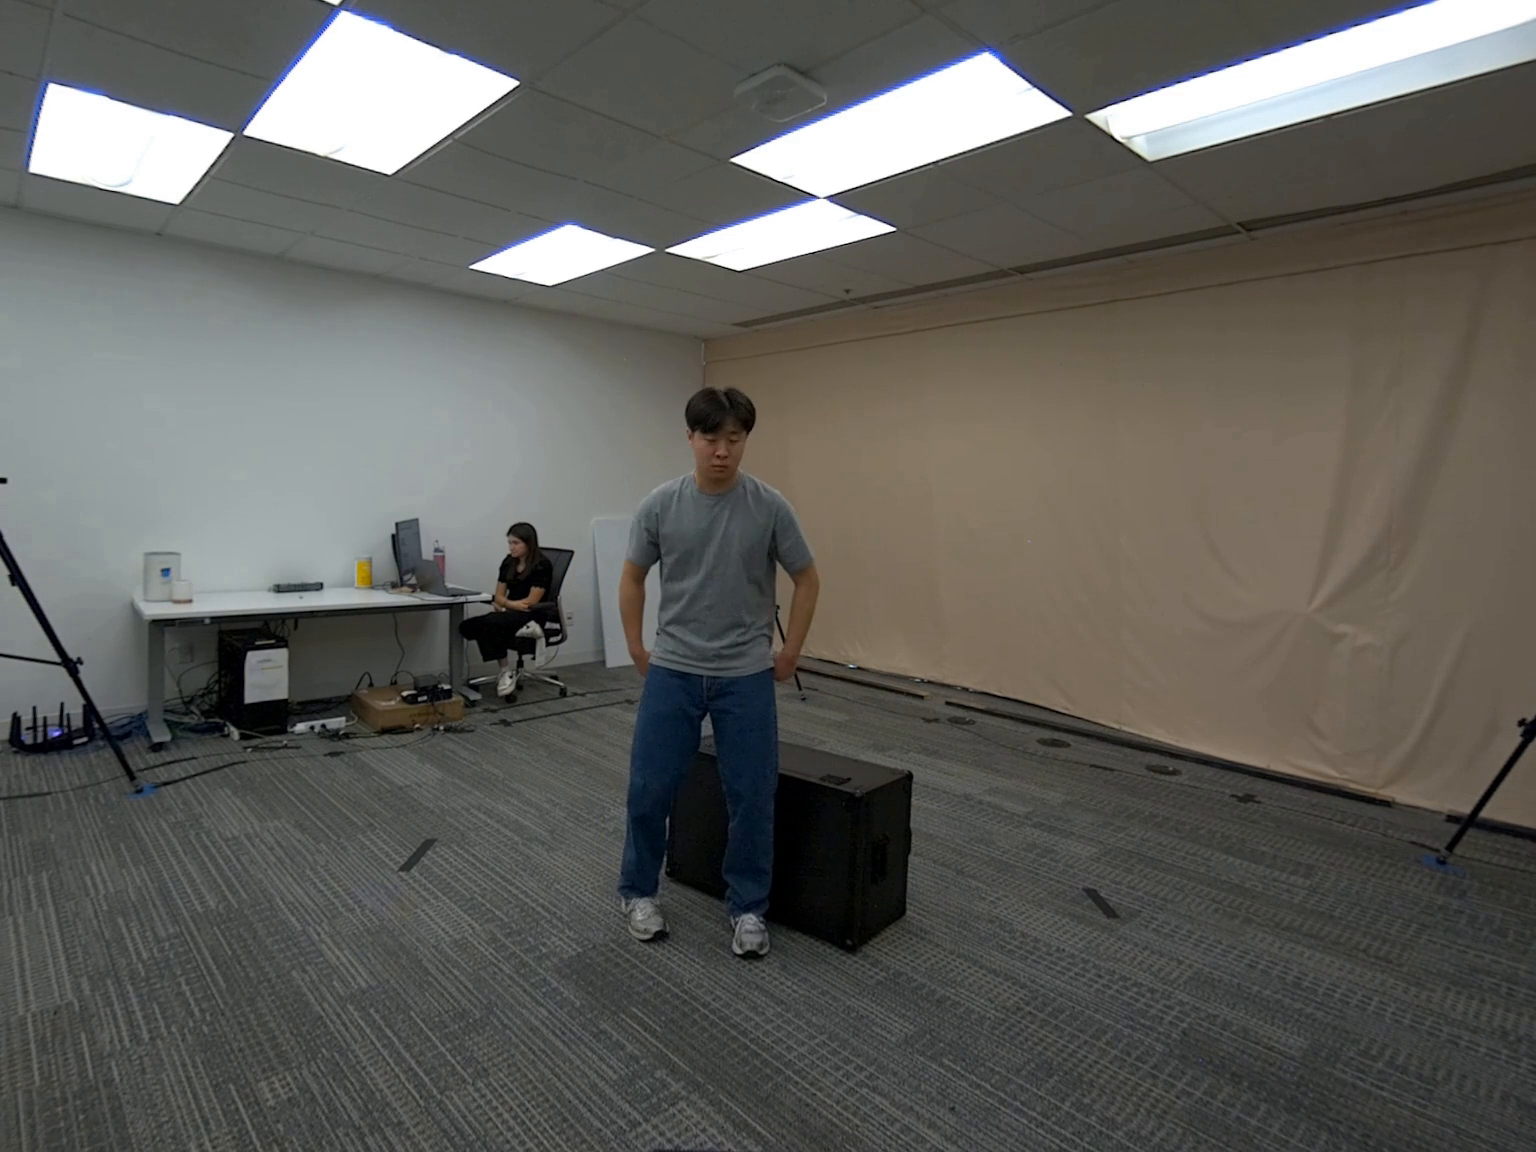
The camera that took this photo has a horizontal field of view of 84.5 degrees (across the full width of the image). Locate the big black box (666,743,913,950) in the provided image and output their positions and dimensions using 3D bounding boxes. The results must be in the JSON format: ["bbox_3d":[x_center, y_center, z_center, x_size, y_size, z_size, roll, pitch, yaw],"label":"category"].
[{"bbox_3d":[0.038,0.865,2.969,0.883,0.520,0.387,5,3,37],"label":"big black box"}]
